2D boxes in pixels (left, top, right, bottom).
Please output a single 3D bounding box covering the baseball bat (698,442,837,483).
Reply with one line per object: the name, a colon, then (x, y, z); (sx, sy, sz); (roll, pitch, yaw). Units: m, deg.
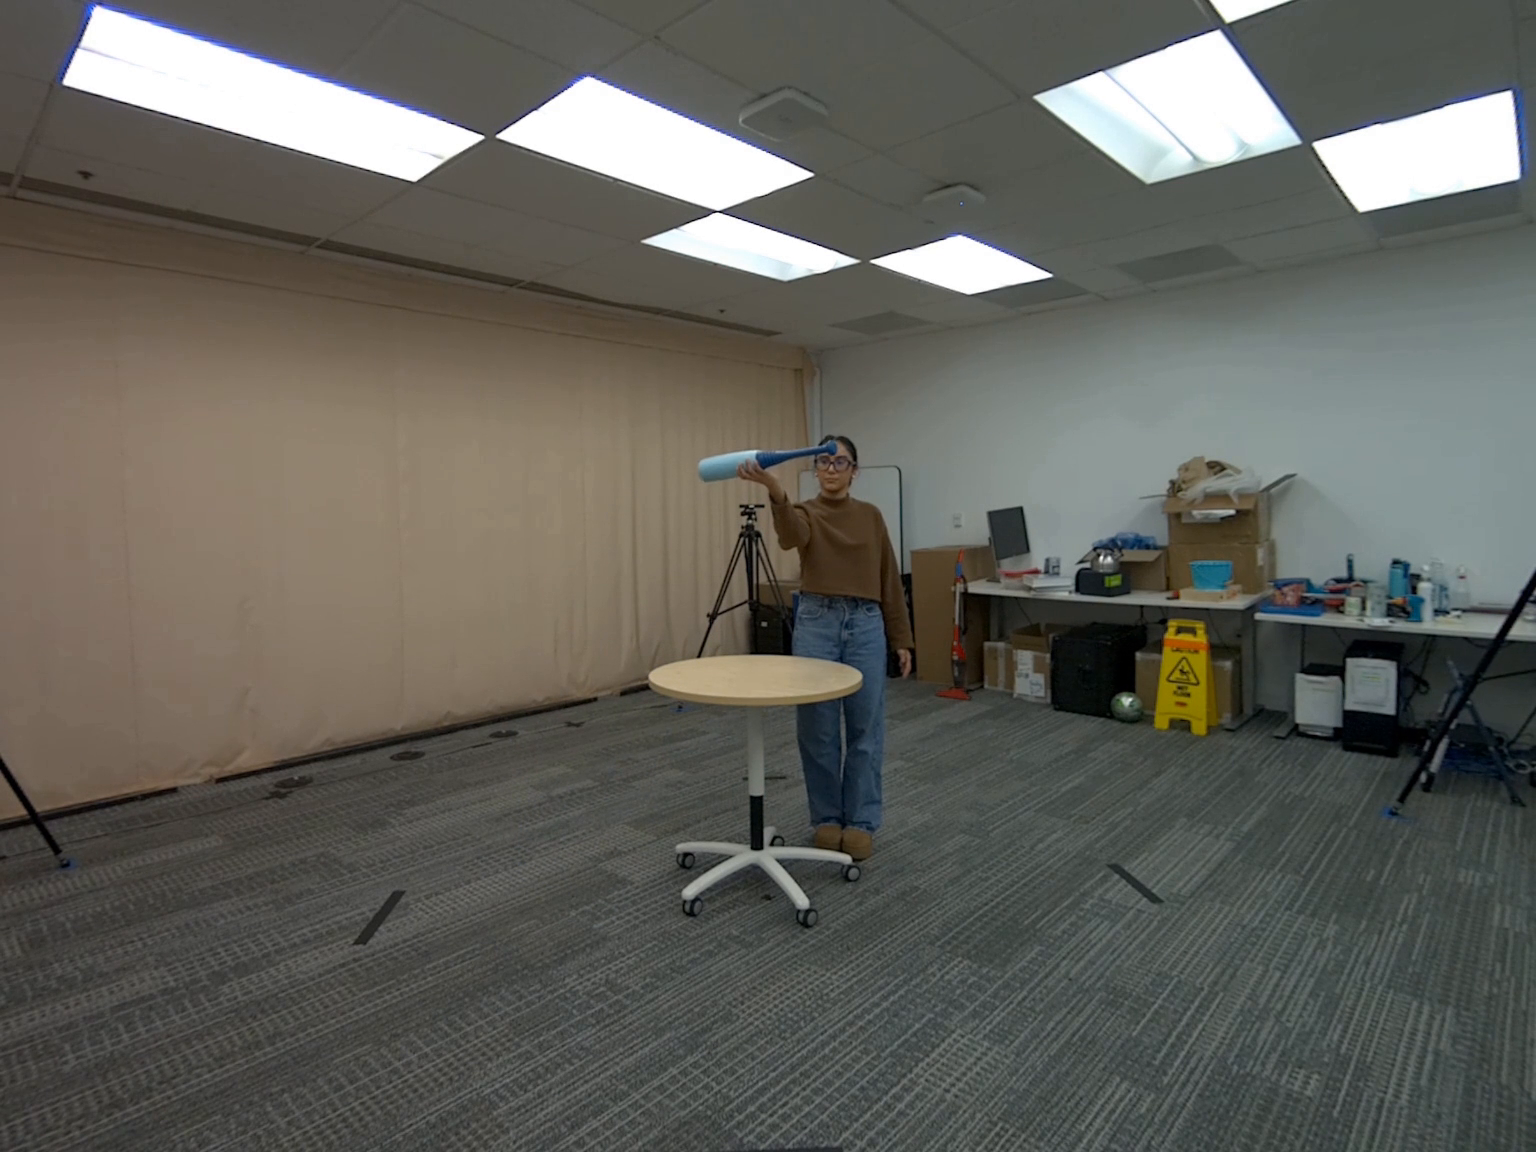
baseball bat: (-0.002, -0.399, 2.890); (0.558, 0.089, 0.086); (-5, 1, 34)
